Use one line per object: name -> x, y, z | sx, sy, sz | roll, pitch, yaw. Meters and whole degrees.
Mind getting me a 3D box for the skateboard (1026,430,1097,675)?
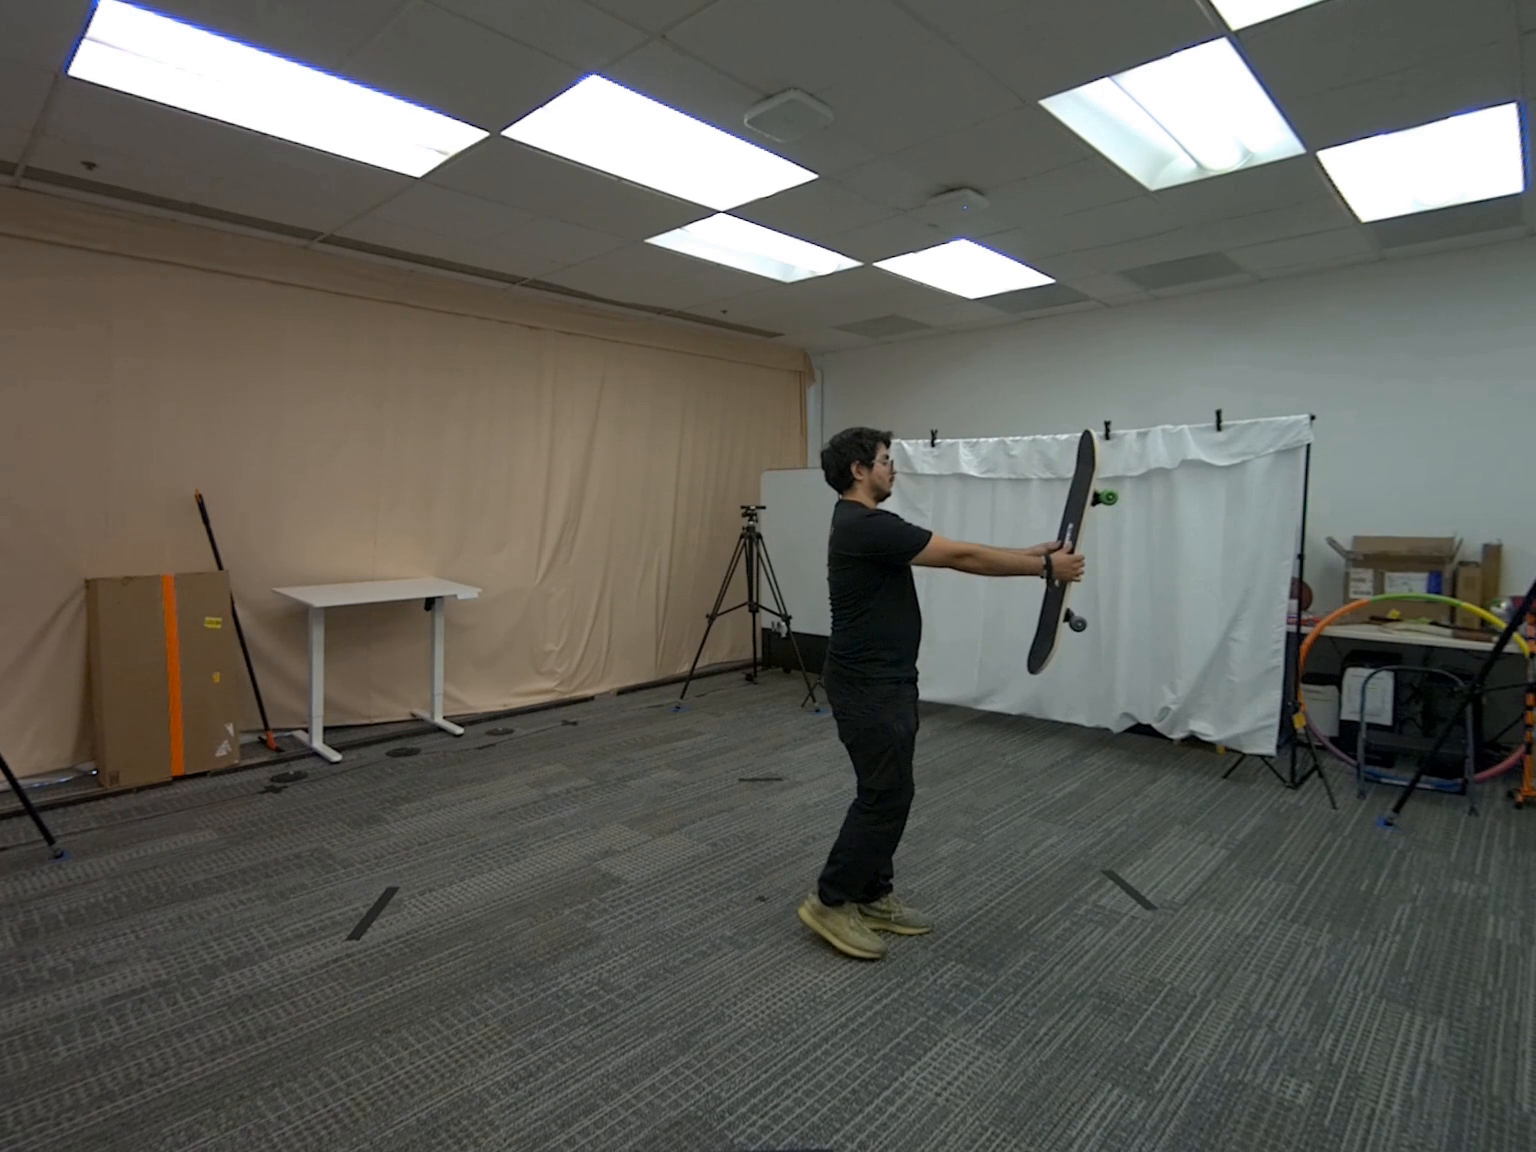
skateboard -> 0.973, -0.059, 2.641 | 0.111, 0.783, 0.193 | 12, 6, 2
